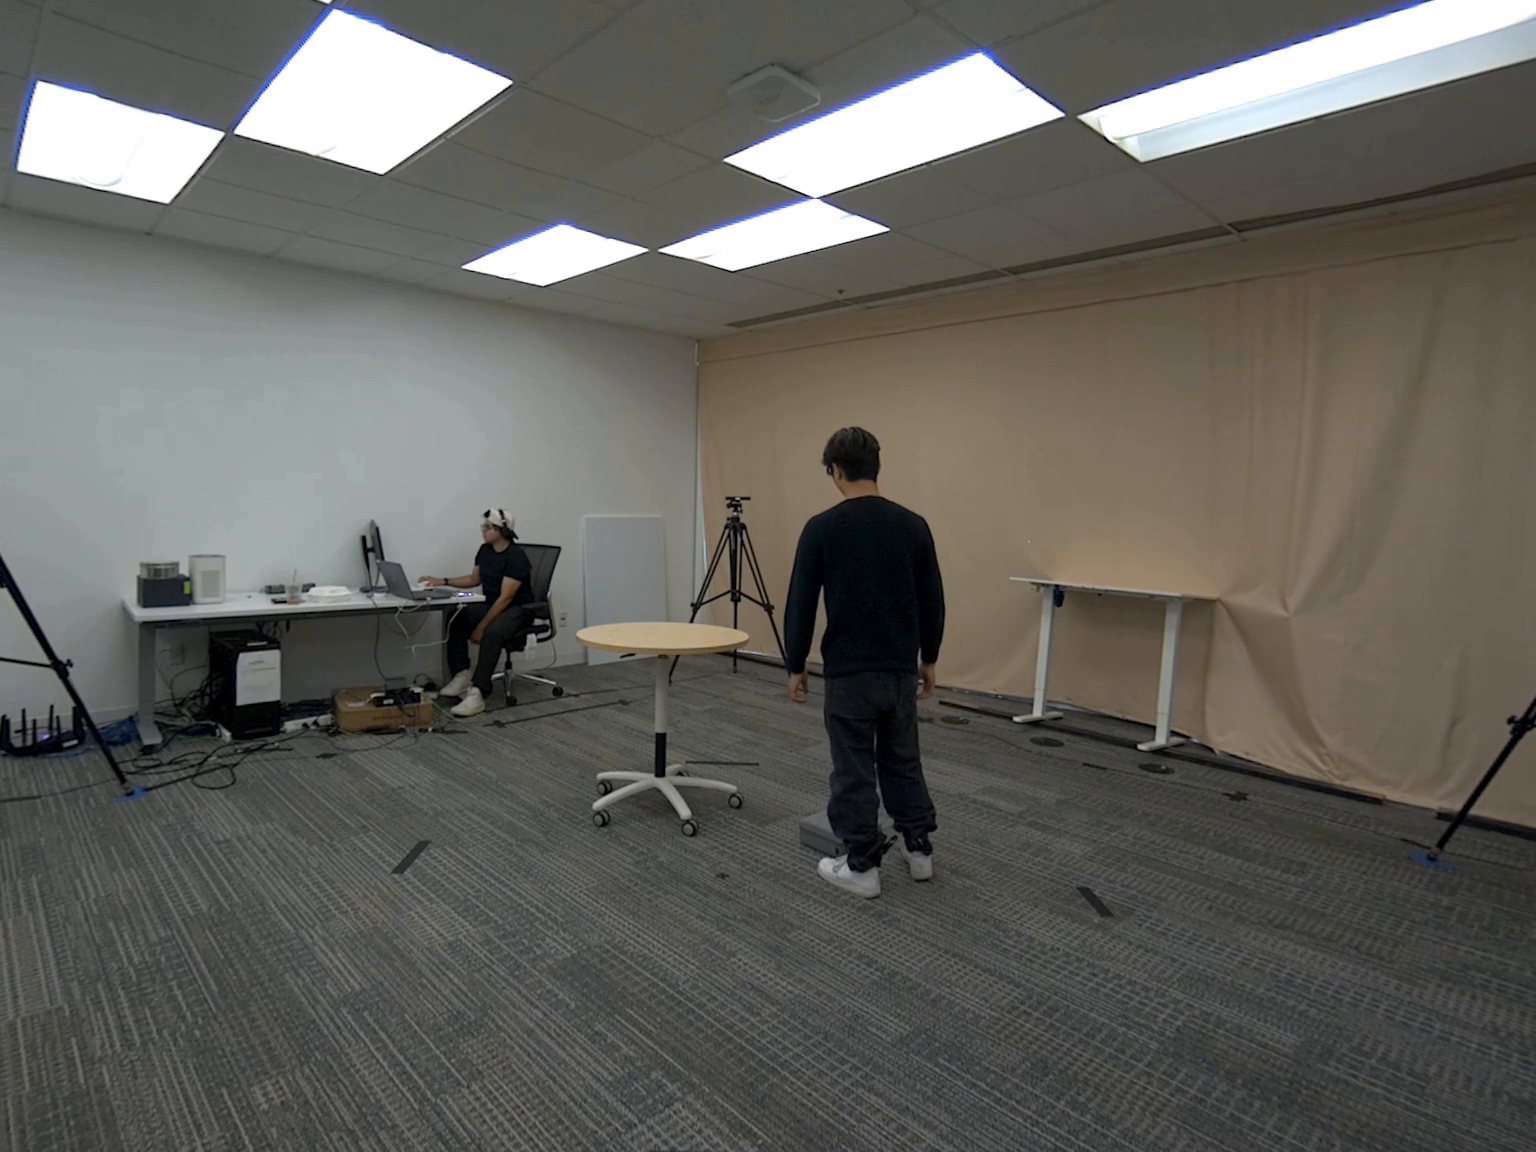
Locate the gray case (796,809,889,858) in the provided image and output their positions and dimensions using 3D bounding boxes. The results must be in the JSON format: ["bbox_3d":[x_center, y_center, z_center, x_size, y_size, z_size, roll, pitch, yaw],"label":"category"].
[{"bbox_3d":[0.297,1.035,3.409,0.251,0.104,0.267,-1,5,-44],"label":"gray case"}]
